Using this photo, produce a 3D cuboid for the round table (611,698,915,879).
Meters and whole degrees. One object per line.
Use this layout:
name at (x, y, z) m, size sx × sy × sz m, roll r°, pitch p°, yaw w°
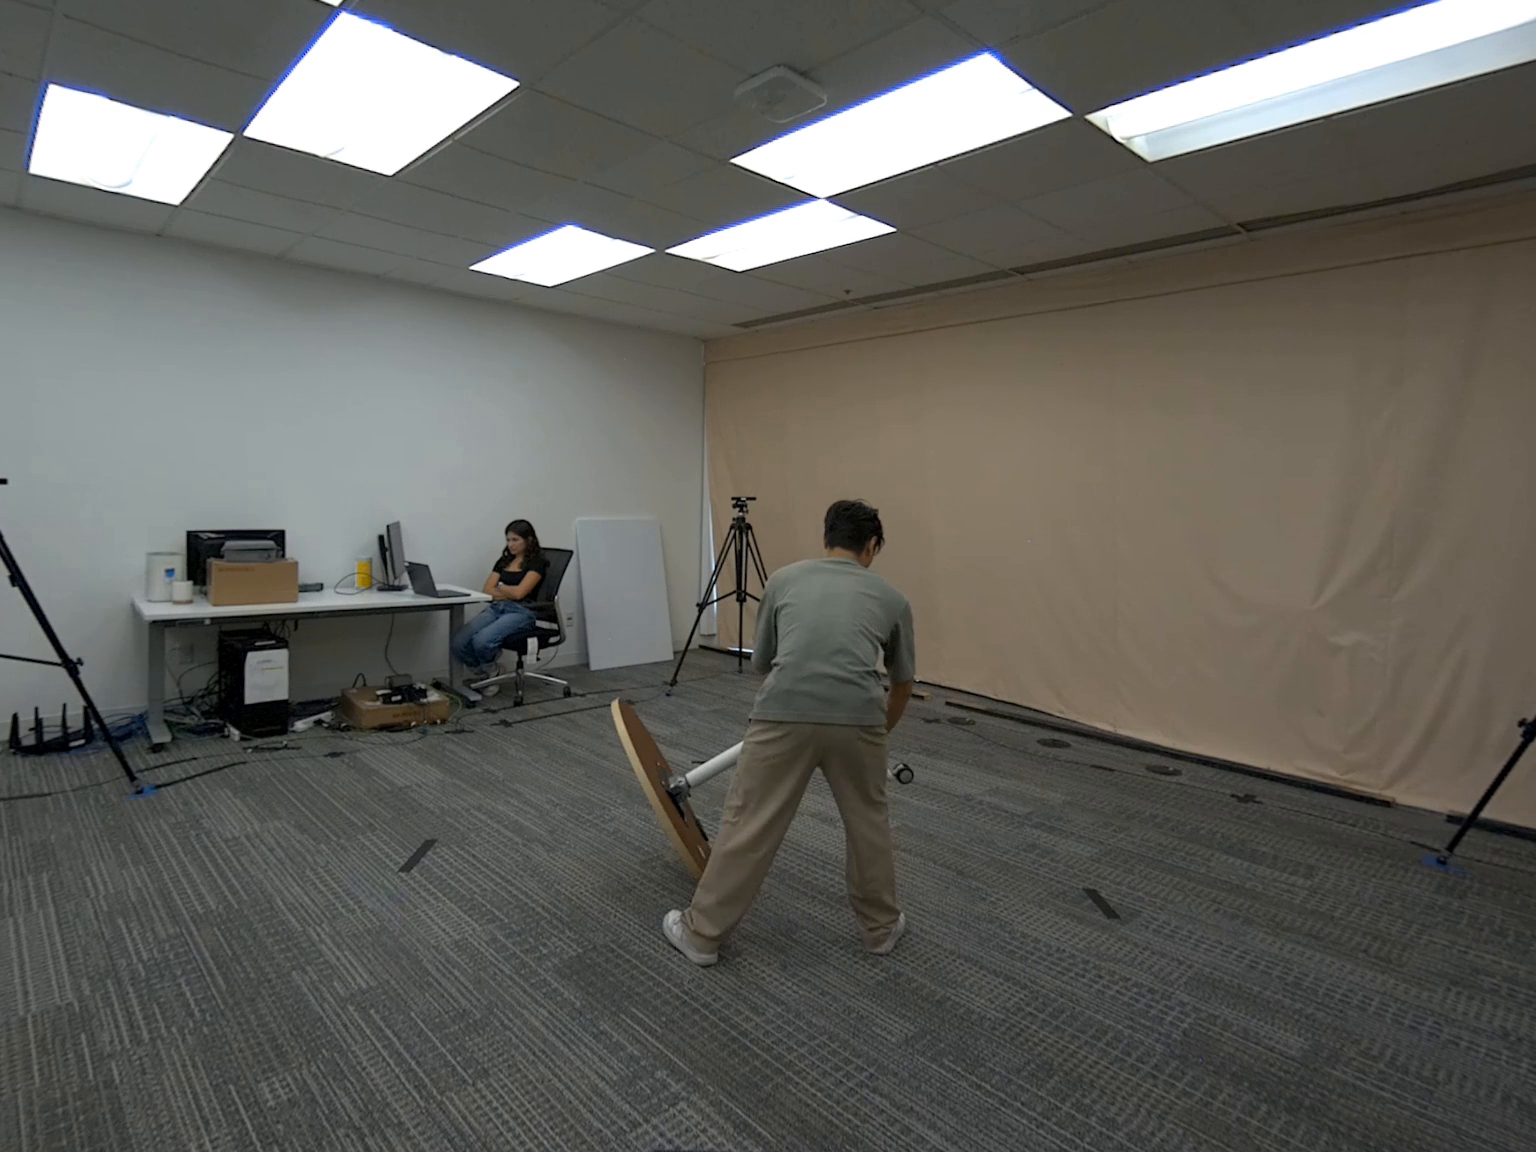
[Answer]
round table at (-0.026, 0.596, 3.025) m, size 0.785 × 0.780 × 0.792 m, roll -29°, pitch 8°, yaw -5°
